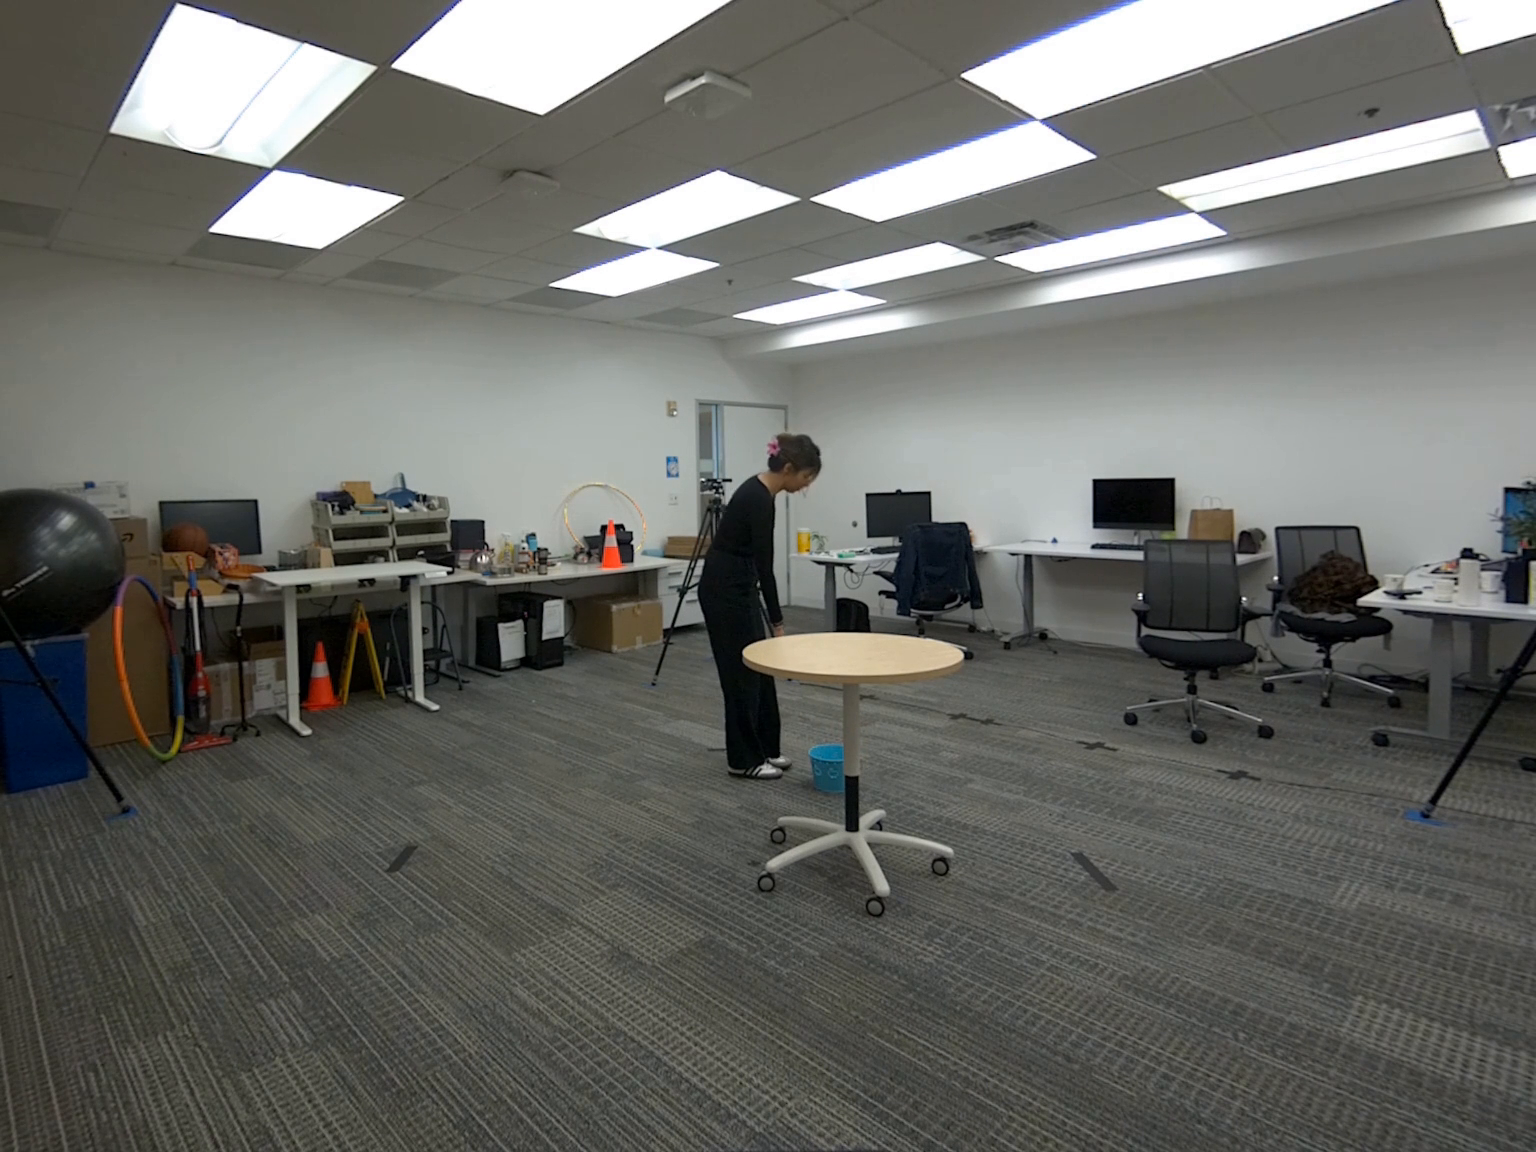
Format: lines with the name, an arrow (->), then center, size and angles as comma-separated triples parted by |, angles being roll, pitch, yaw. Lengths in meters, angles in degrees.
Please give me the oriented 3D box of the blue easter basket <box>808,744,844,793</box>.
blue easter basket -> 0.304, 0.874, 3.887 | 0.243, 0.155, 0.245 | -1, 5, -2
